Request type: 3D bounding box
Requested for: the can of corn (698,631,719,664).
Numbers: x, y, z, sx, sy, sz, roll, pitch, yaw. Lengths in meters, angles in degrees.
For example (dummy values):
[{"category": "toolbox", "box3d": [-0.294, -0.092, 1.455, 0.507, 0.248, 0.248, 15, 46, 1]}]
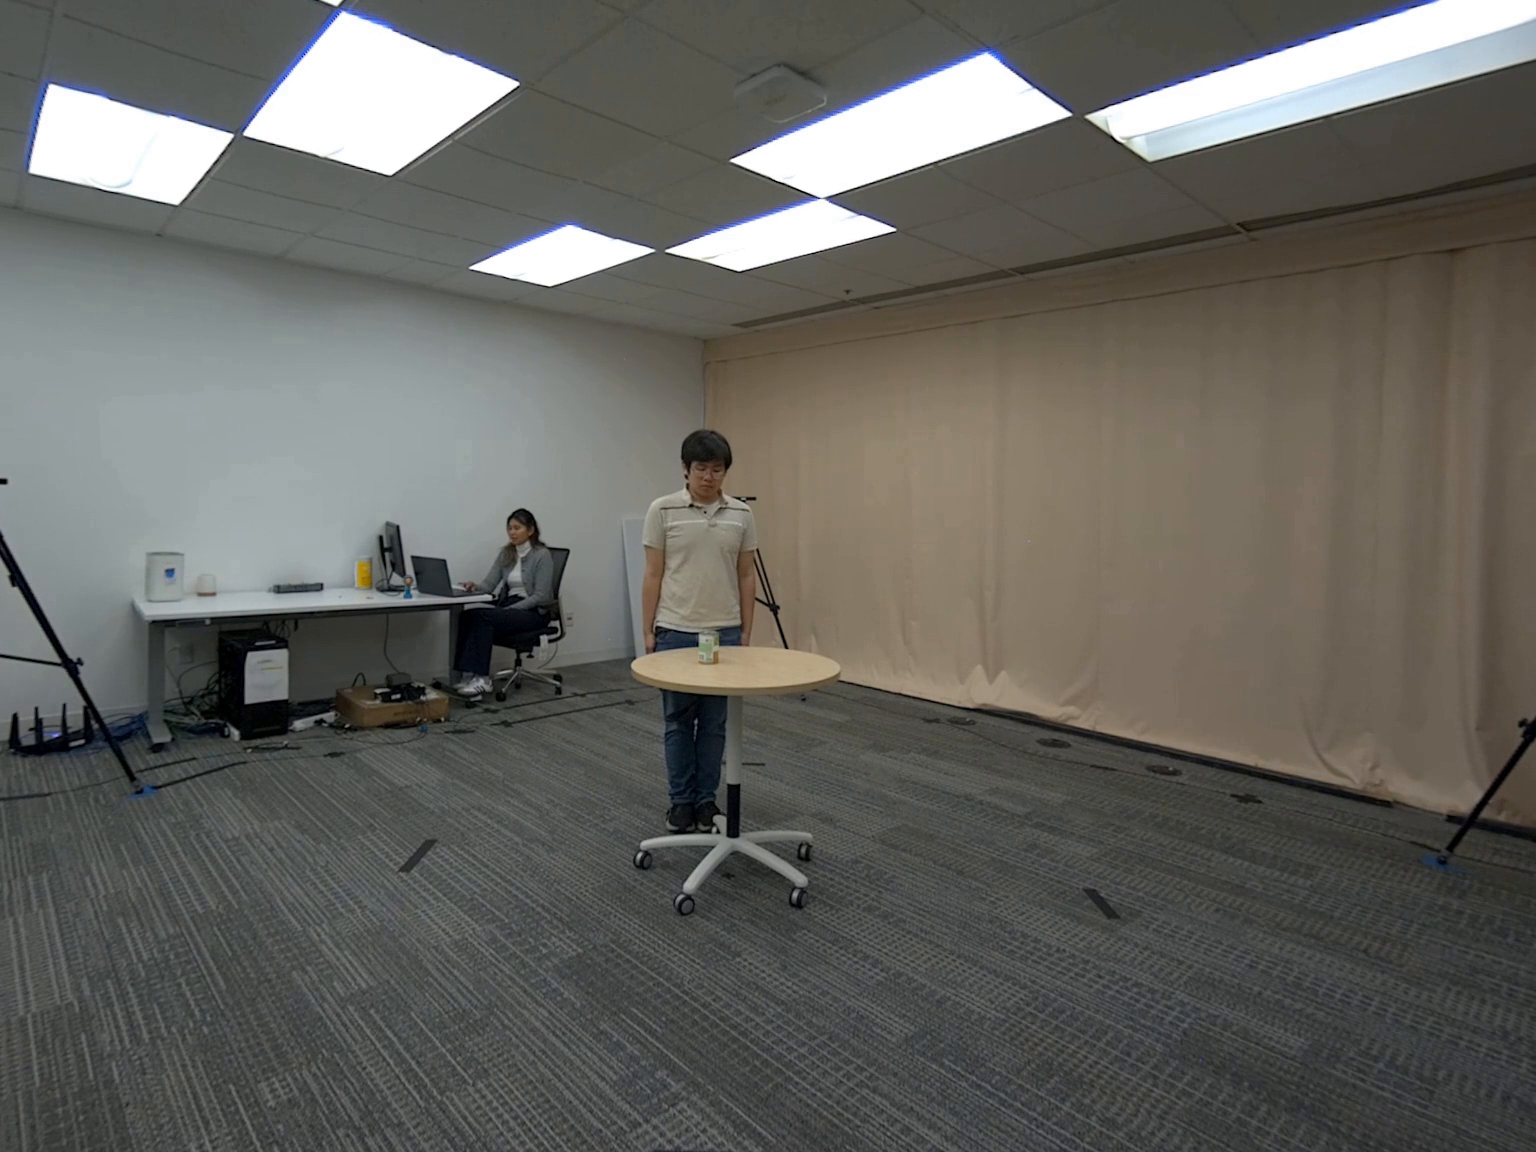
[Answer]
[{"category": "can of corn", "box3d": [-0.233, 0.268, 3.117, 0.074, 0.111, 0.074, 1, -1, -1]}]
